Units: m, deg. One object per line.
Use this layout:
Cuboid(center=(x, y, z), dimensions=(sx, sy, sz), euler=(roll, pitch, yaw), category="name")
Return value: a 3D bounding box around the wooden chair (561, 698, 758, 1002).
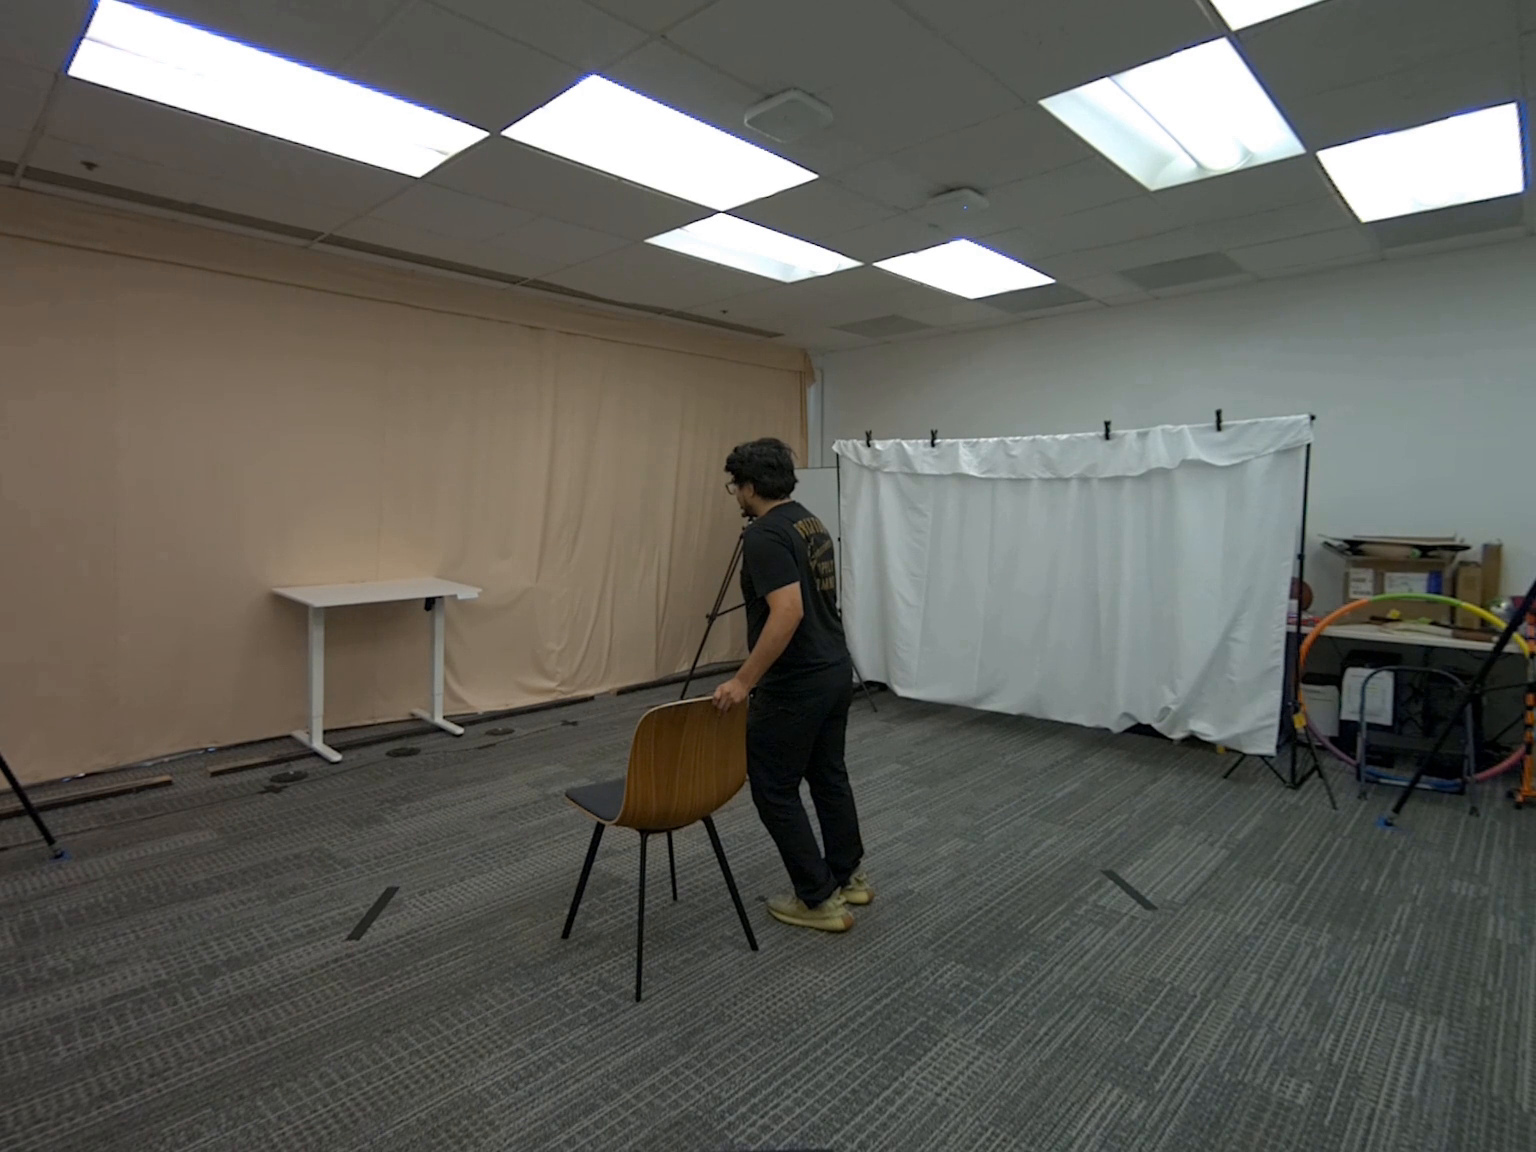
Cuboid(center=(-0.357, 0.748, 2.653), dimensions=(0.463, 0.874, 0.541), euler=(-2, 8, -40), category="wooden chair")
